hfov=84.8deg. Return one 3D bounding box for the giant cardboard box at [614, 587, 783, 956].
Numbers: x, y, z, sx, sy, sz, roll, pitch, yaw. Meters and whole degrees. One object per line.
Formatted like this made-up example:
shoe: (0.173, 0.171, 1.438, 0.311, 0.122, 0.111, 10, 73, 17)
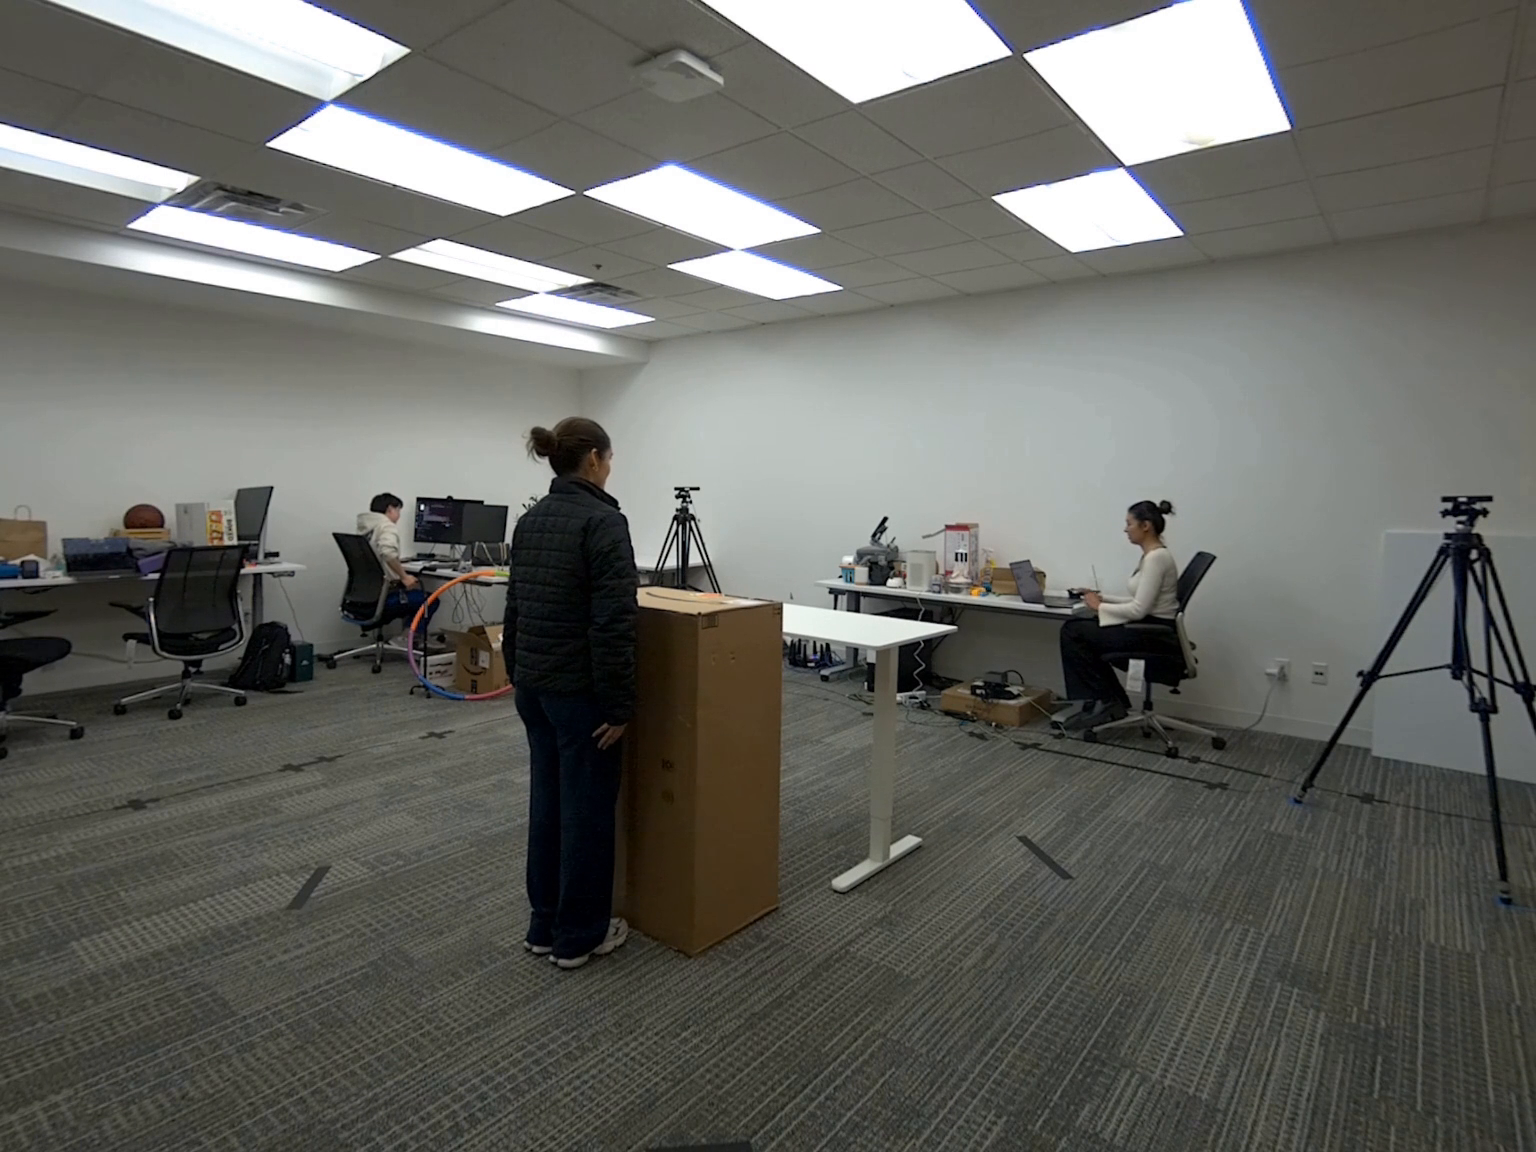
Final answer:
giant cardboard box: (-0.295, 0.581, 2.847, 0.597, 1.023, 0.413, 3, 4, 40)
